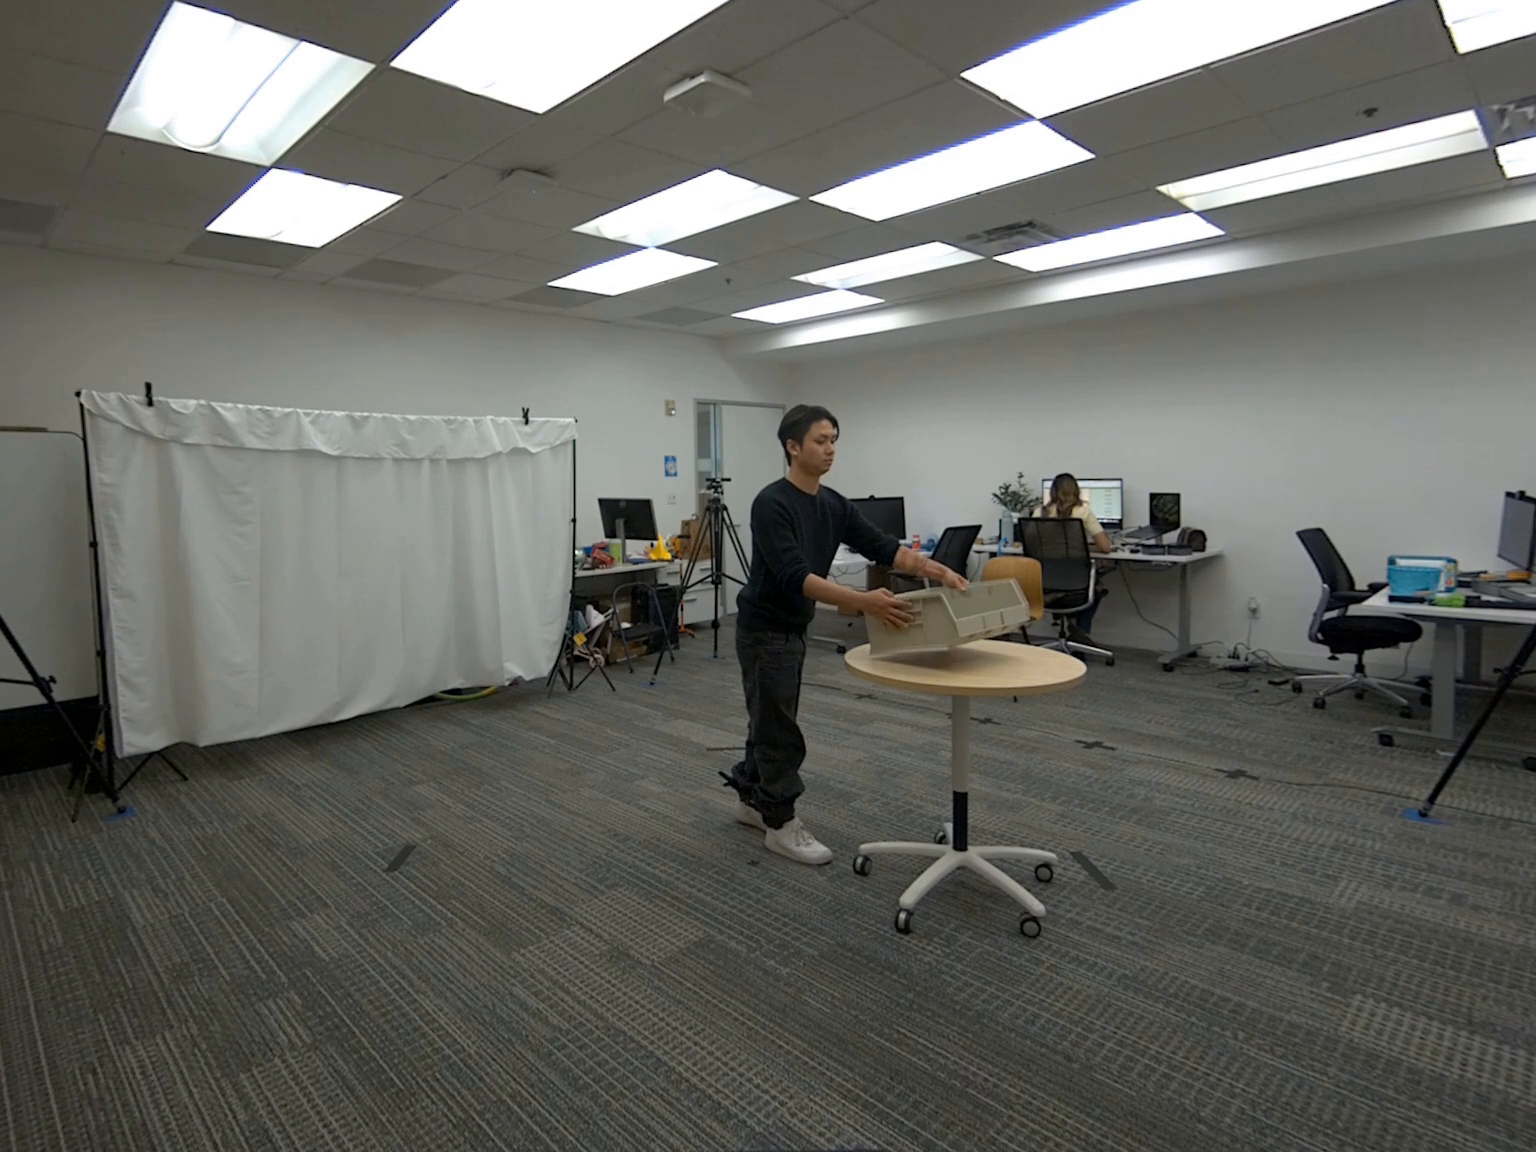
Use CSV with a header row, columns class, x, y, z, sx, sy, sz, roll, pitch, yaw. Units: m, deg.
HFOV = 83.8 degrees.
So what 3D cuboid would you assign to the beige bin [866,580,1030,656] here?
class,x,y,z,sx,sy,sz,roll,pitch,yaw
beige bin,0.594,0.134,2.851,0.412,0.190,0.385,-8,-3,-41
